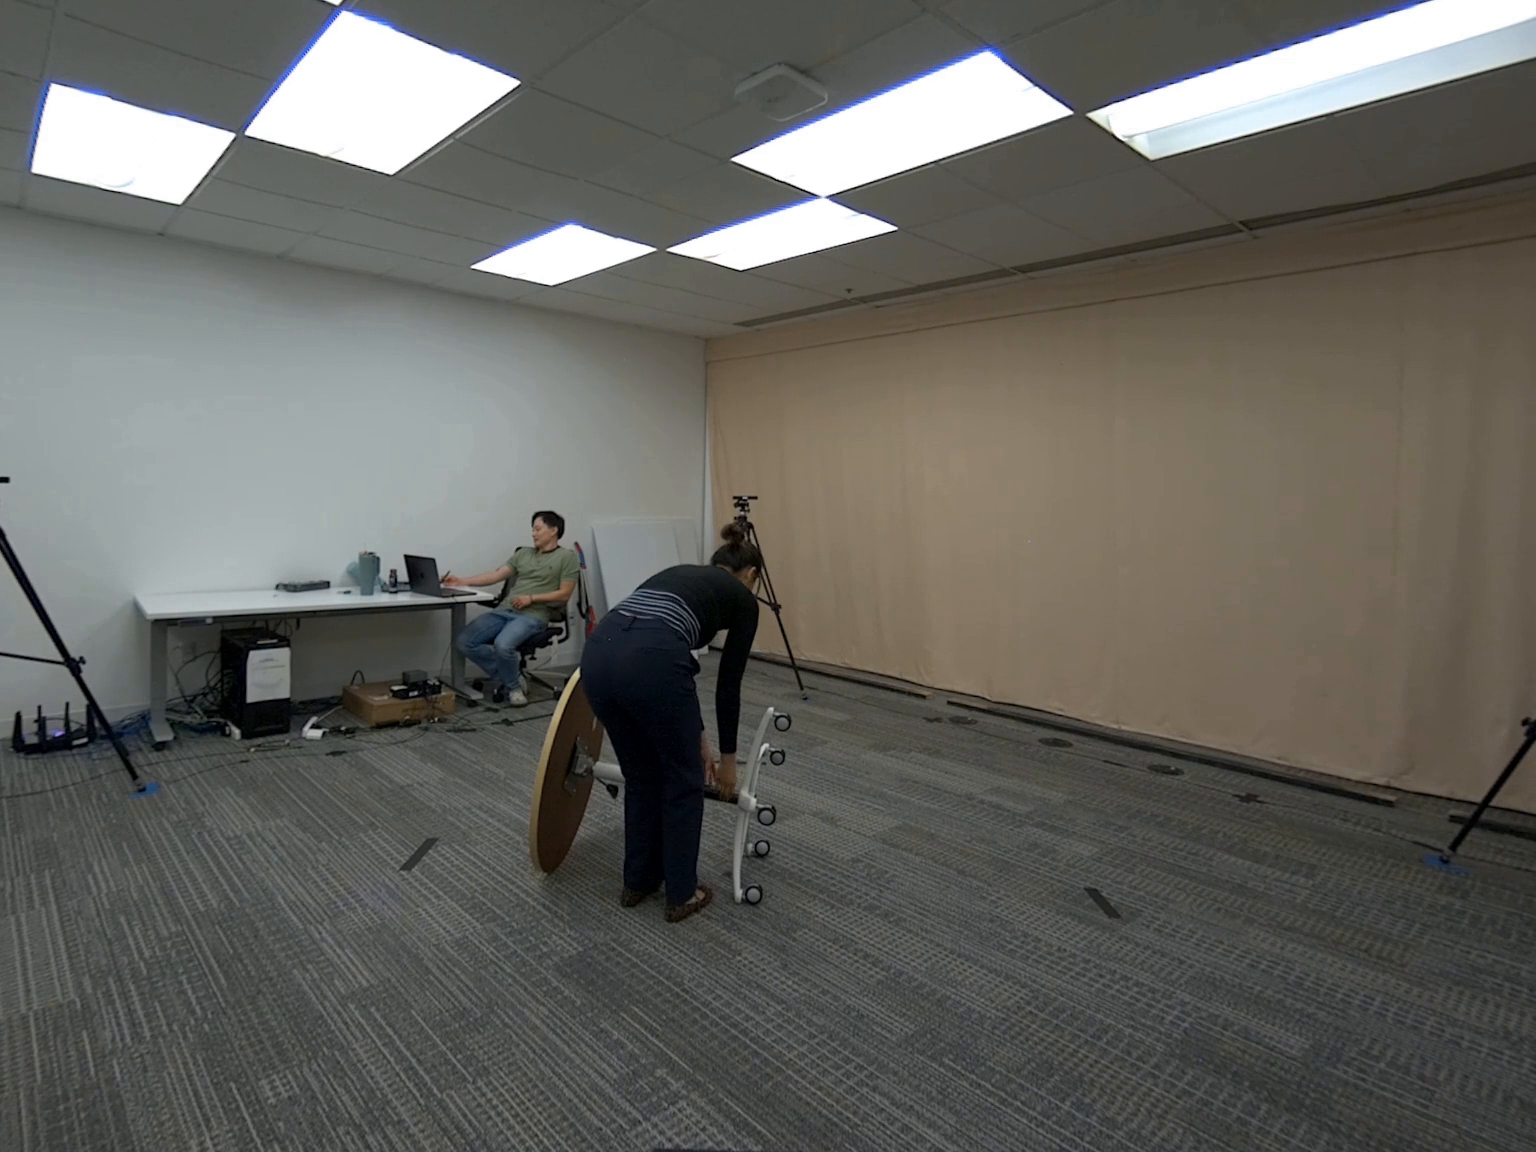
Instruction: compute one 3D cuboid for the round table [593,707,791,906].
[{"bbox_3d":[-0.359,0.769,3.098,0.799,0.762,0.761,9,5,6],"label":"round table"}]
